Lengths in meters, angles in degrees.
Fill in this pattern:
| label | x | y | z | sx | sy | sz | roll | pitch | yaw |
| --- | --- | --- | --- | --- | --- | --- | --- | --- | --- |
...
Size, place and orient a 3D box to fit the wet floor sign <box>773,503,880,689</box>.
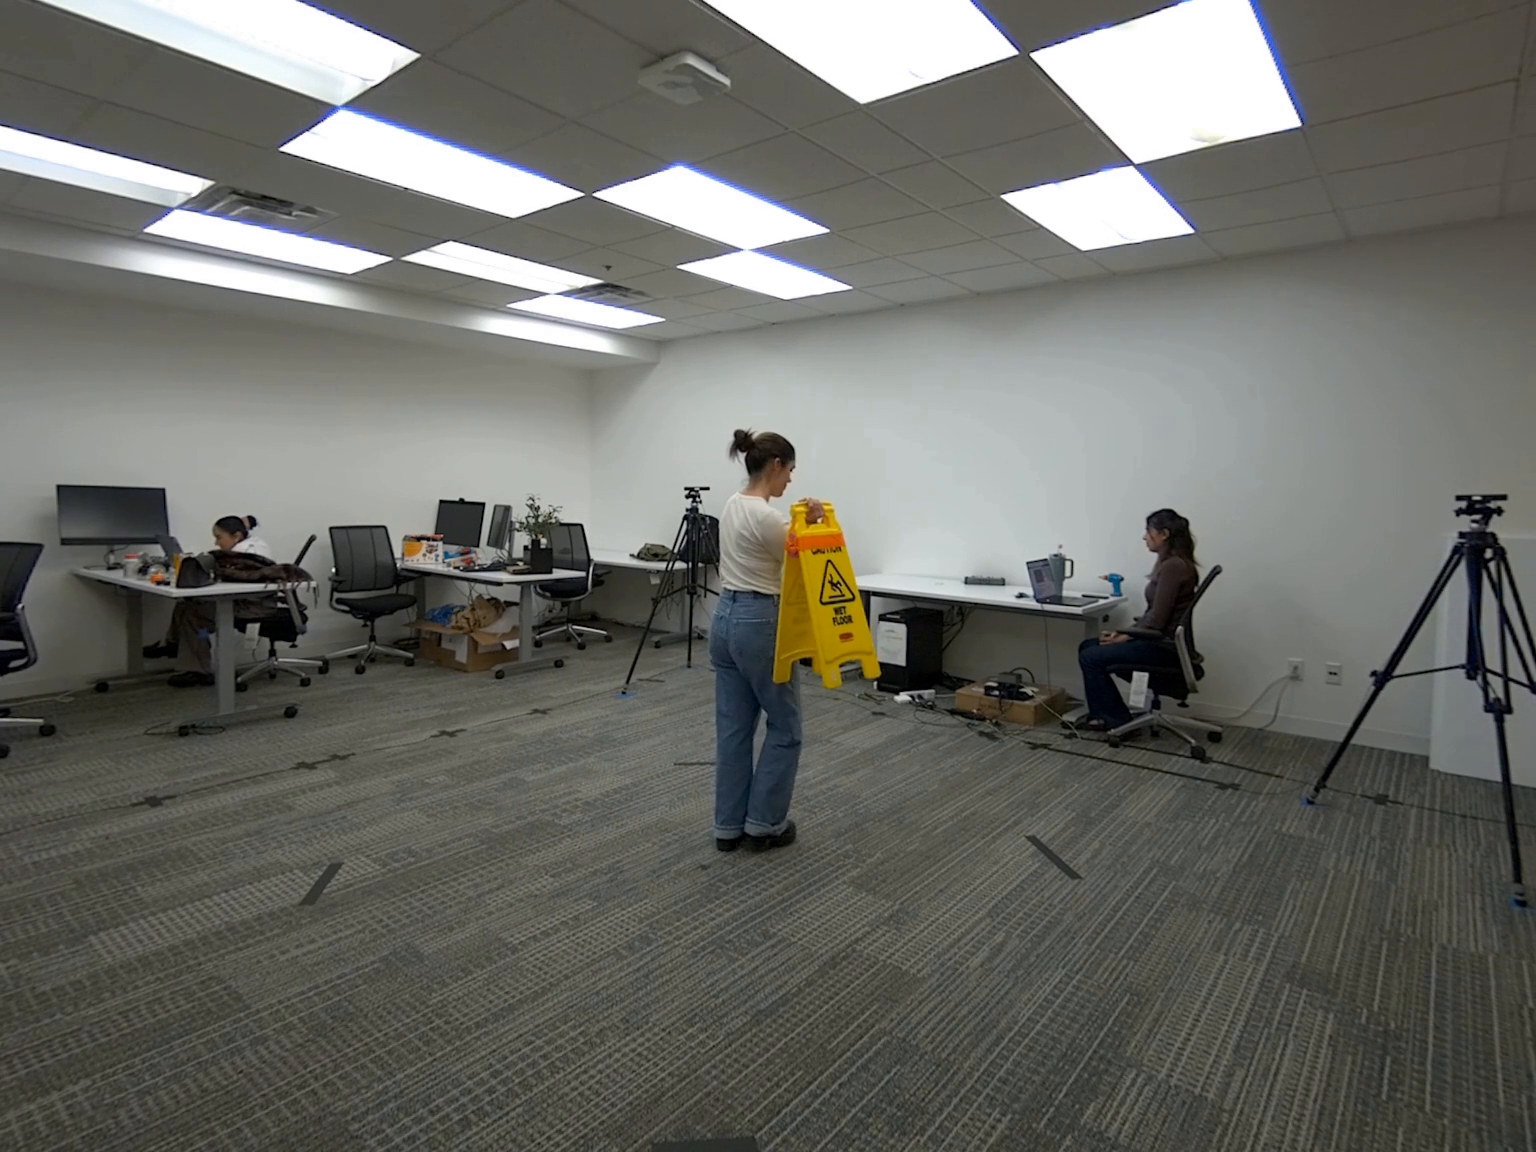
| label | x | y | z | sx | sy | sz | roll | pitch | yaw |
| --- | --- | --- | --- | --- | --- | --- | --- | --- | --- |
| wet floor sign | 0.177 | 0.048 | 3.090 | 0.274 | 0.647 | 0.298 | -4 | -1 | -40 |
